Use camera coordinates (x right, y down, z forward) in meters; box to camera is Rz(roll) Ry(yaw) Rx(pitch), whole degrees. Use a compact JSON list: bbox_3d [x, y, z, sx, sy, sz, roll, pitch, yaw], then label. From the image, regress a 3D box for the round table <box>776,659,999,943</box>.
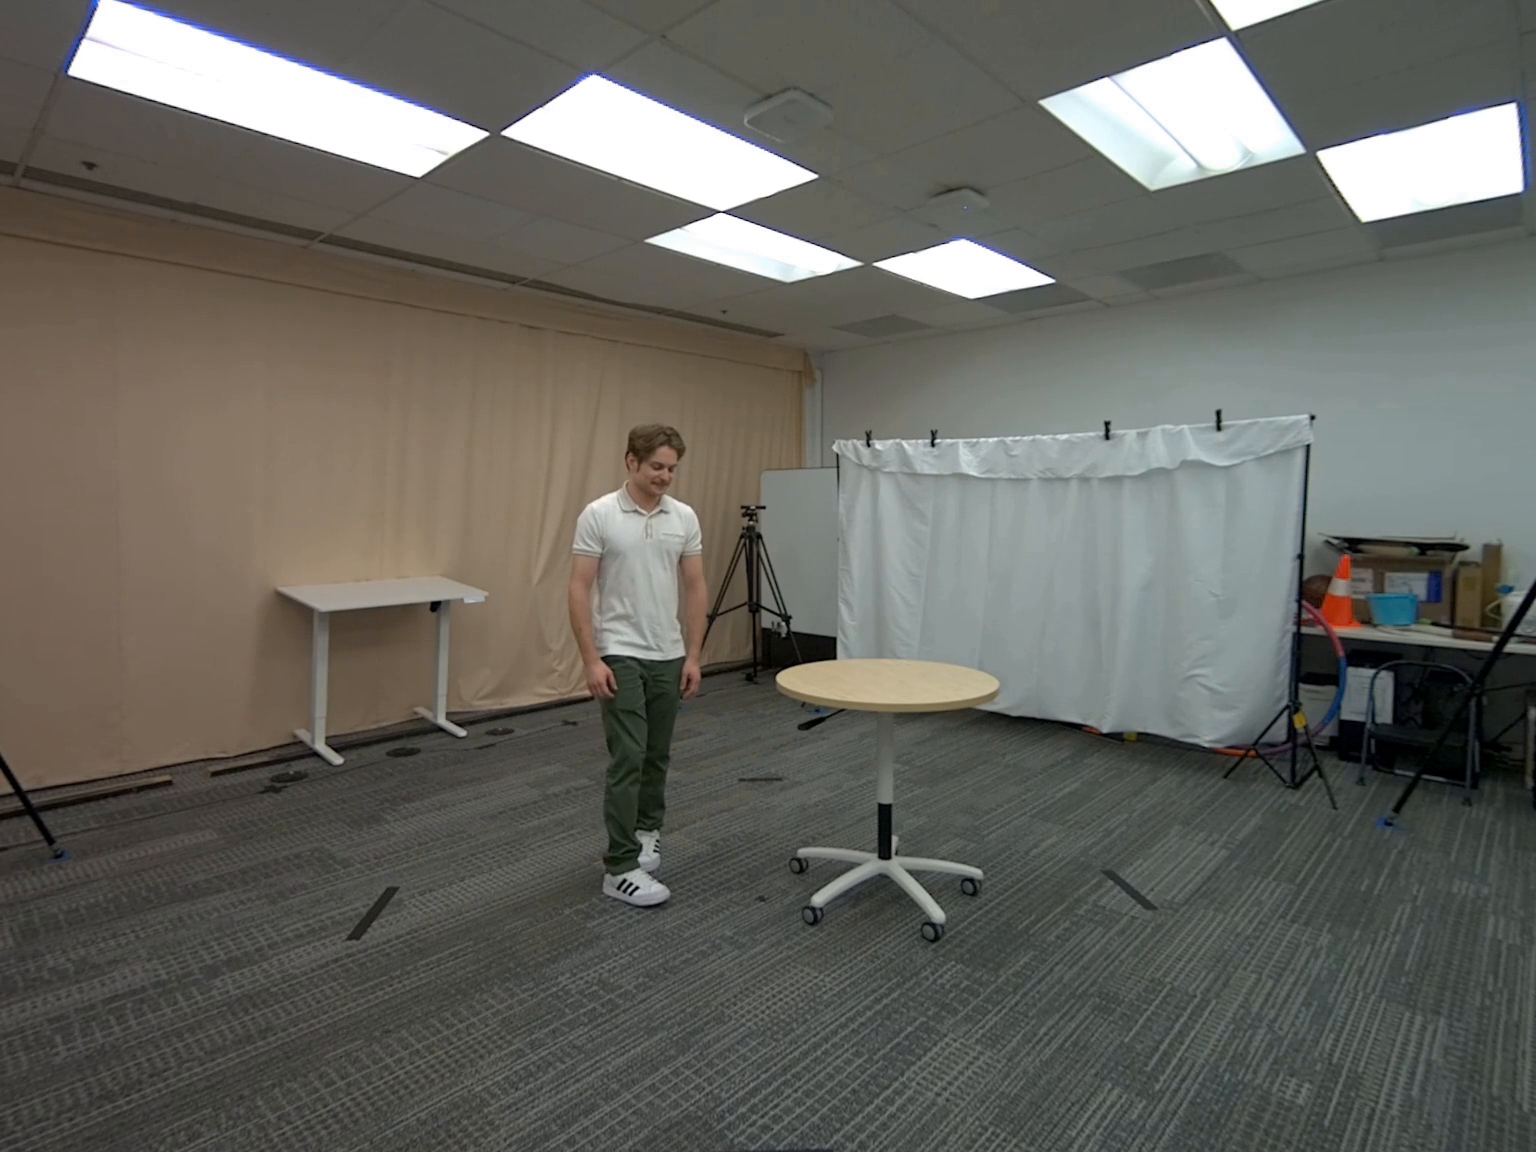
[{"bbox_3d":[0.412,0.755,2.977,0.763,0.792,0.767,0,4,-2],"label":"round table"}]
